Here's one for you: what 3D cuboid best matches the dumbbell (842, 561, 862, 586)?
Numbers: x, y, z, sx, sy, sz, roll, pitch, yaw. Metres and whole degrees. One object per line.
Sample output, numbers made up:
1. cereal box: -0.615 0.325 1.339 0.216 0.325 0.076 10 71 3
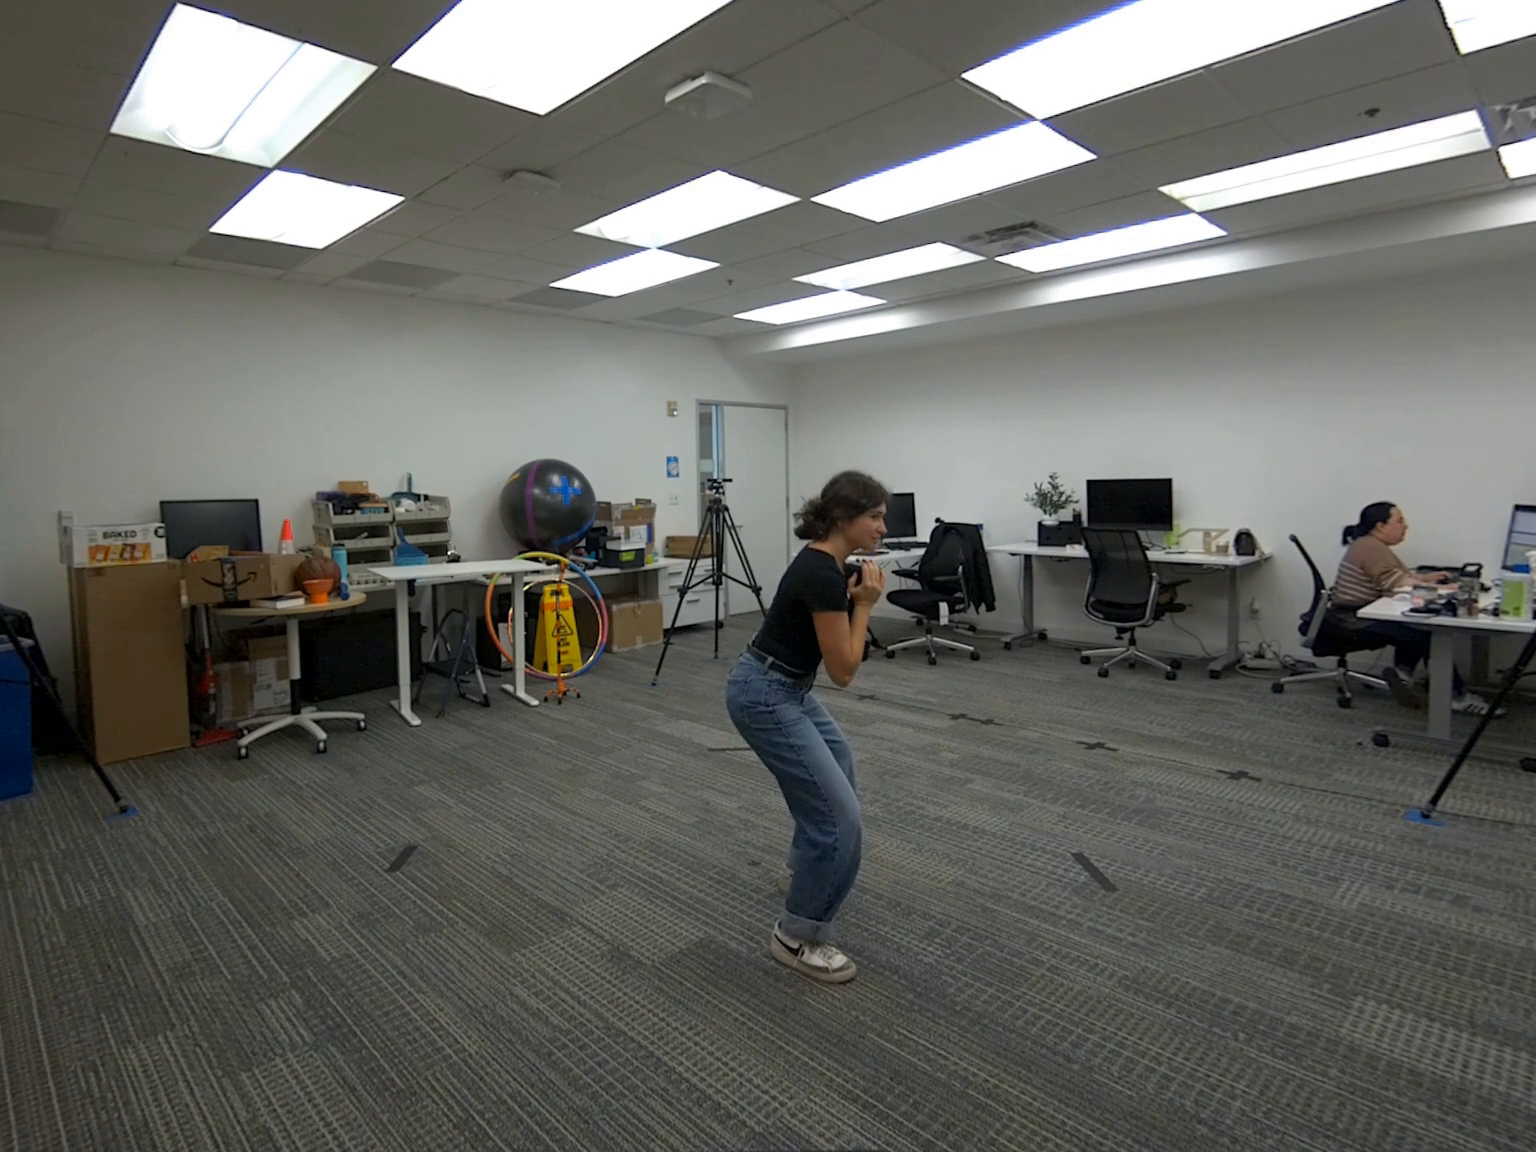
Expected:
1. dumbbell: 0.259 0.112 2.595 0.127 0.292 0.106 14 7 30
